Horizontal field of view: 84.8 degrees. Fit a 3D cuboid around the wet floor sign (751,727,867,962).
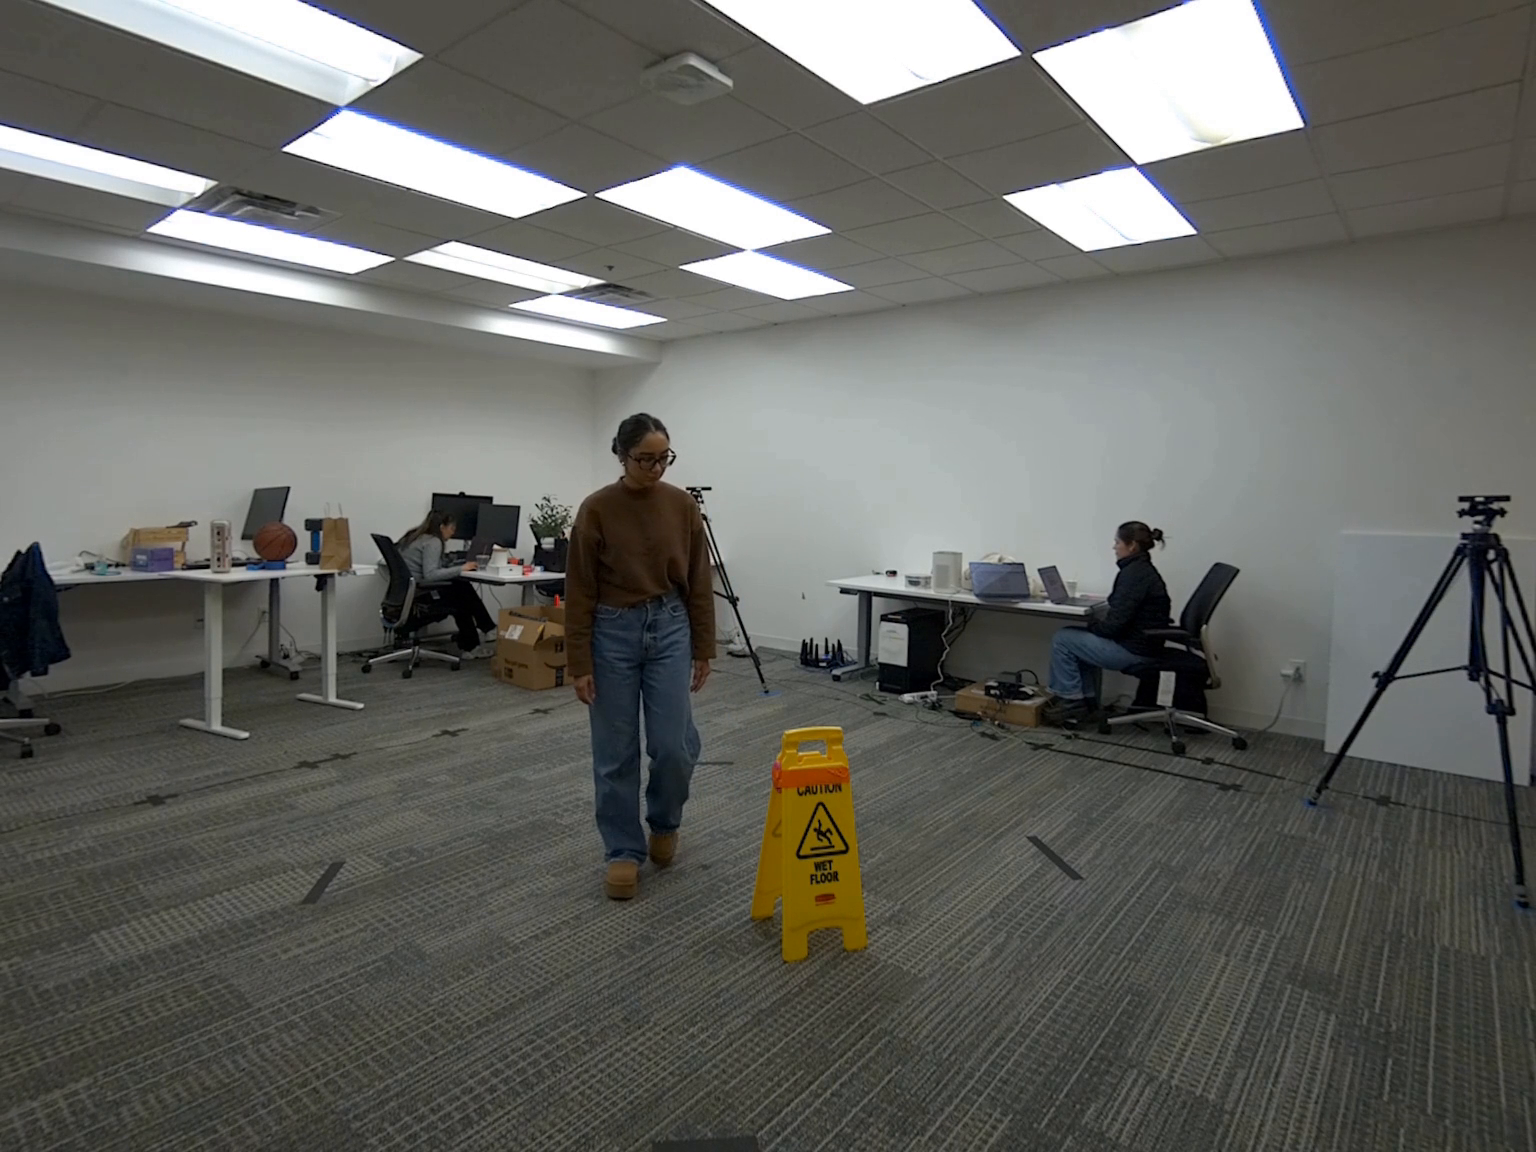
[{"bbox_3d":[0.122,0.791,2.651,0.276,0.644,0.297,-1,4,-21],"label":"wet floor sign"}]
